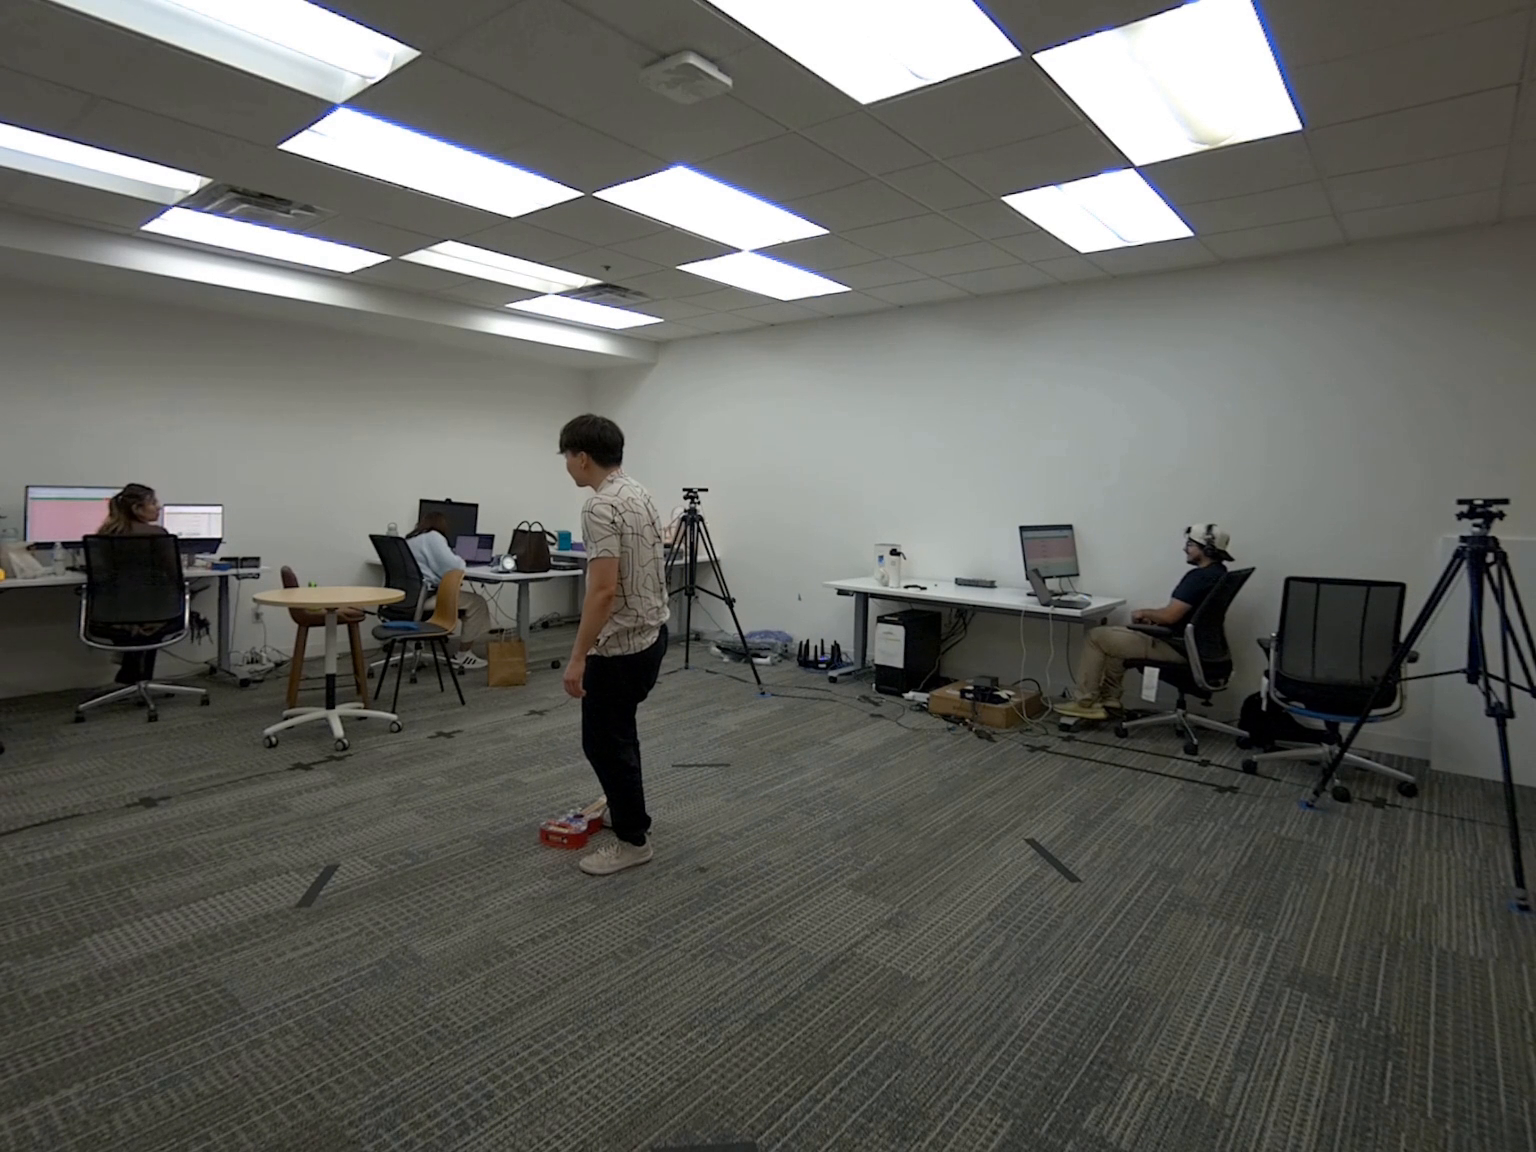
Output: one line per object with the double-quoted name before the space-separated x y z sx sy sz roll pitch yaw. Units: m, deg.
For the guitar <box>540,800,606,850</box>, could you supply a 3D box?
"guitar" -0.728 0.988 3.495 0.198 0.070 0.486 3 6 29
